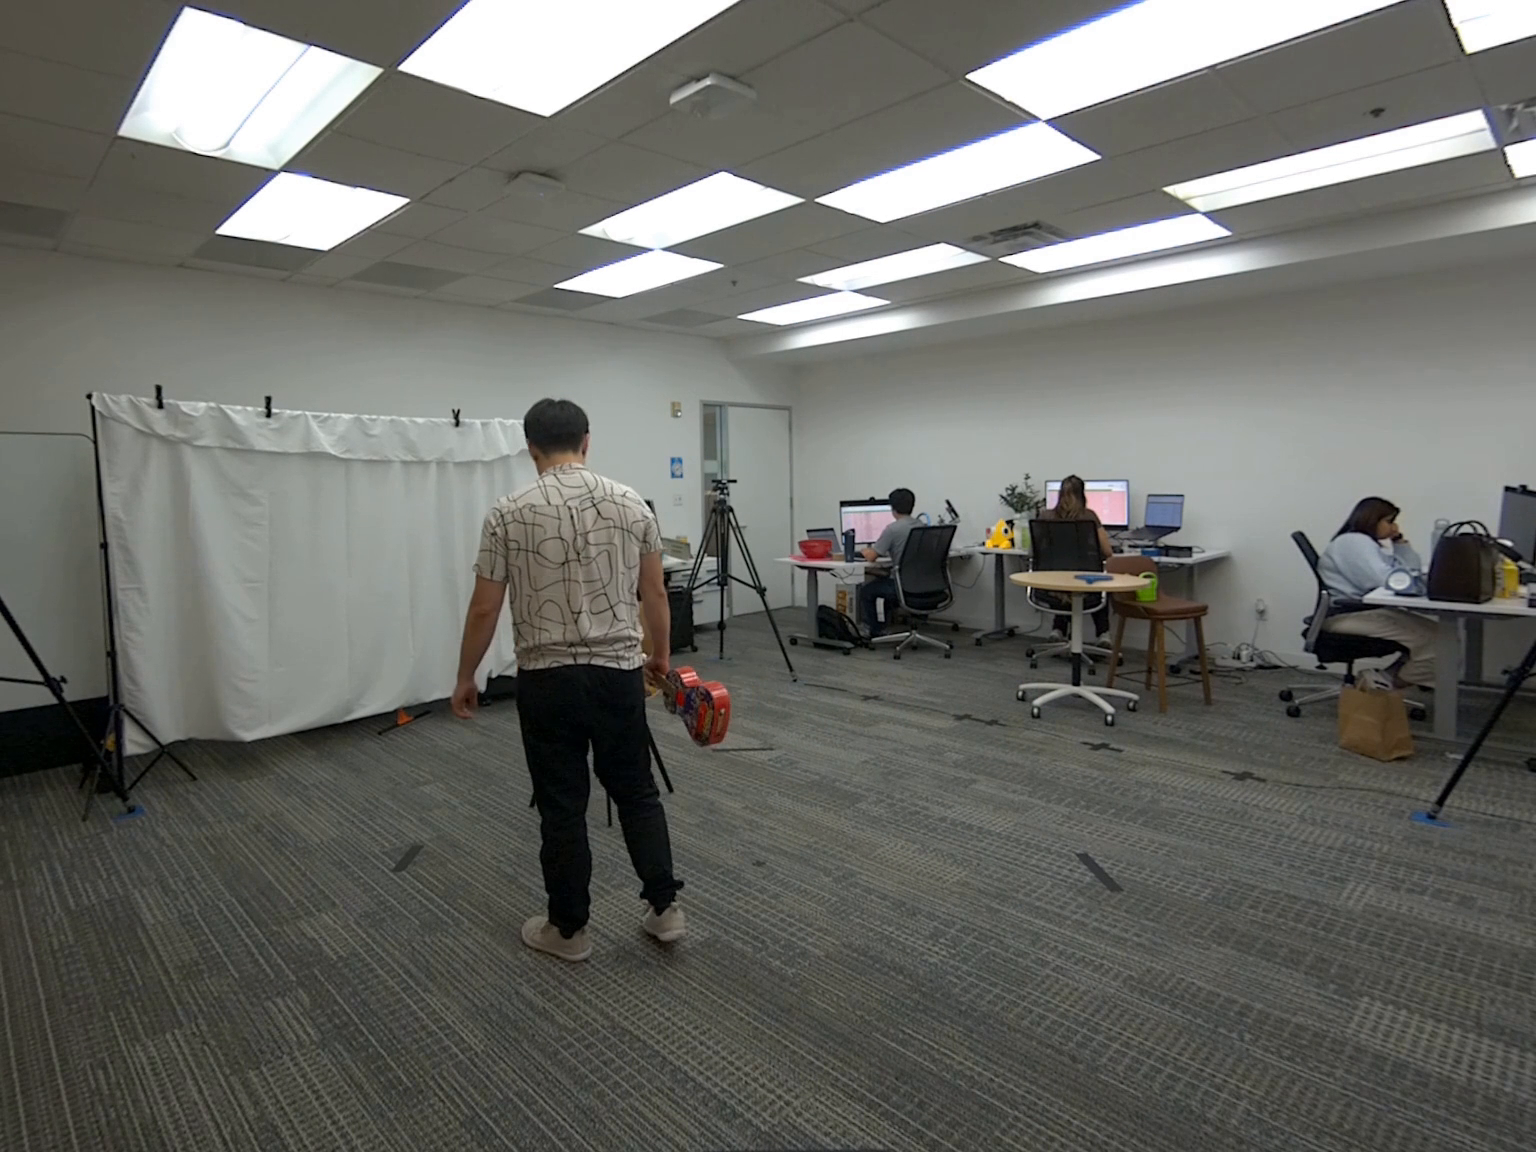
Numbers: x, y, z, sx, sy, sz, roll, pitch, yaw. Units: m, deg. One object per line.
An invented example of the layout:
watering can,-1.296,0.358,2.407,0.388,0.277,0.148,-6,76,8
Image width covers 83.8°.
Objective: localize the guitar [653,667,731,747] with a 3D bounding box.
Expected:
guitar,-0.289,0.323,2.699,0.069,0.190,0.518,-6,33,-39
